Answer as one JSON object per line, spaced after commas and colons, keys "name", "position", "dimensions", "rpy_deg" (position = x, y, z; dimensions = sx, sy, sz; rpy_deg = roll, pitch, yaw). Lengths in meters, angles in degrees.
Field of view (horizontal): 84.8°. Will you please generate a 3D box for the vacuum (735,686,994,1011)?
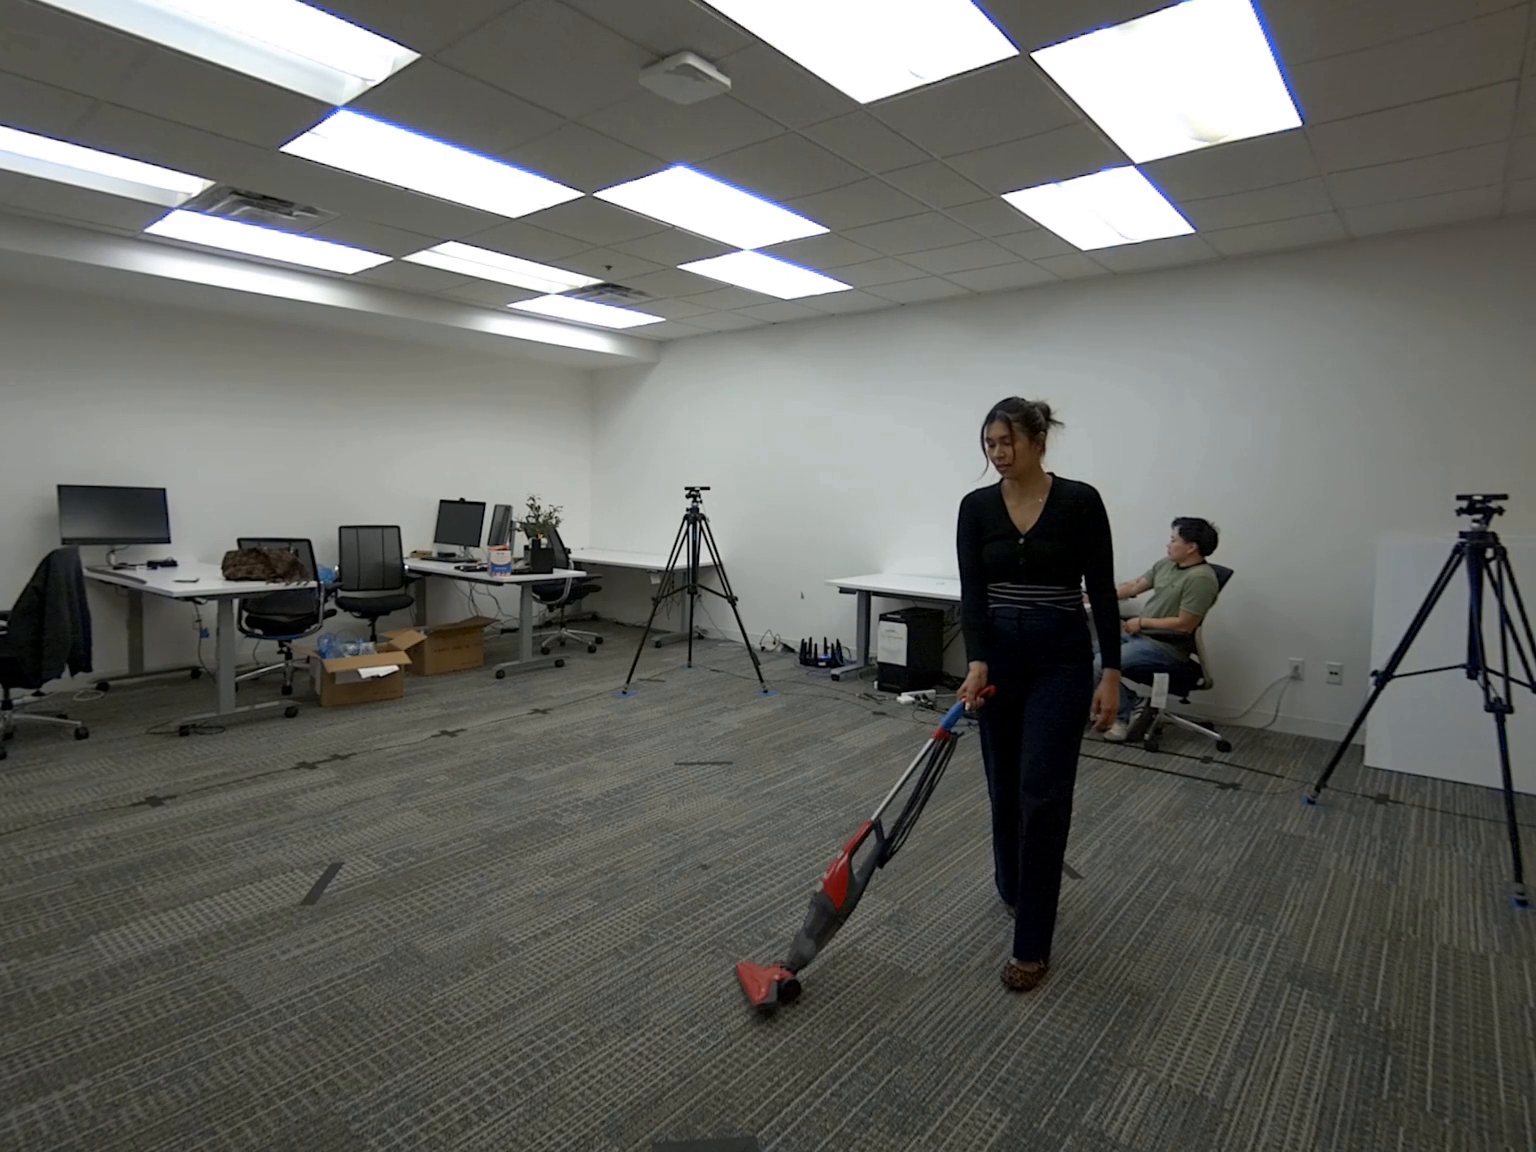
{"name": "vacuum", "position": [0.318, 0.740, 2.447], "dimensions": [0.143, 1.050, 0.255], "rpy_deg": [41, -12, -8]}
